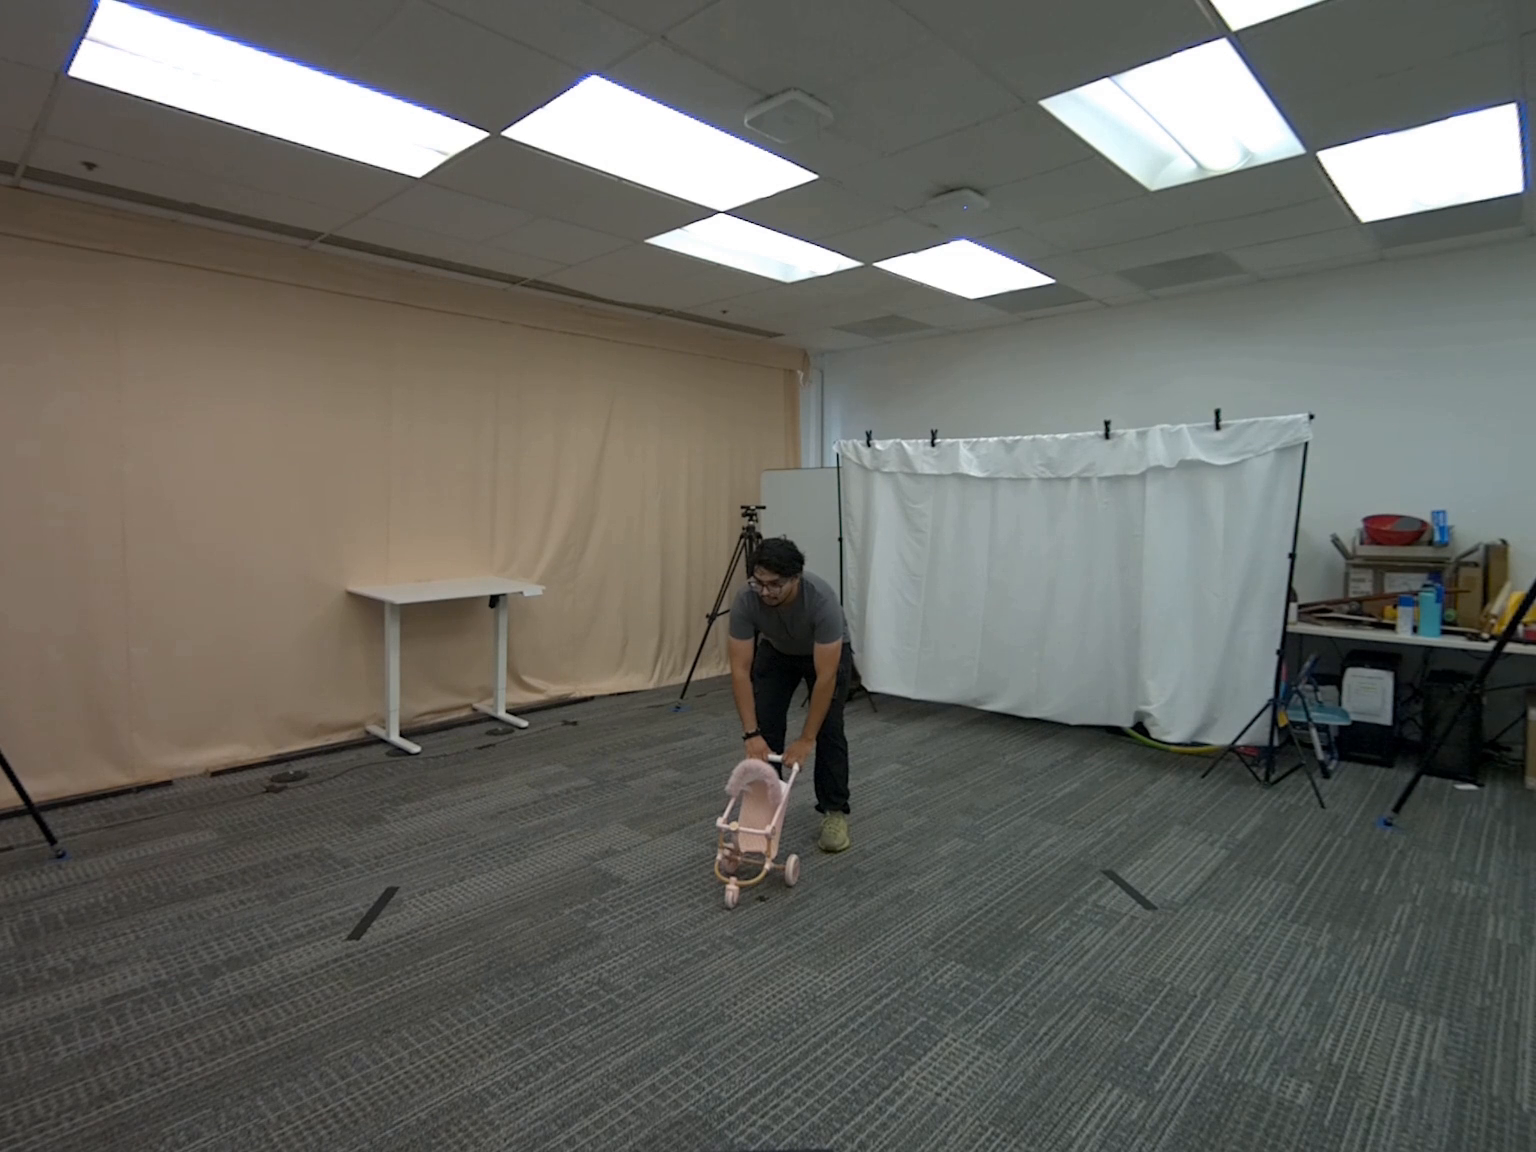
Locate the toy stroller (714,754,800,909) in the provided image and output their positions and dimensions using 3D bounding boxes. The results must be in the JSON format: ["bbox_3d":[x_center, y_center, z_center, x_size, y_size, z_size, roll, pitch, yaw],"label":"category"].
[{"bbox_3d":[-0.055,0.914,3.080,0.289,0.538,0.330,0,-14,28],"label":"toy stroller"}]
